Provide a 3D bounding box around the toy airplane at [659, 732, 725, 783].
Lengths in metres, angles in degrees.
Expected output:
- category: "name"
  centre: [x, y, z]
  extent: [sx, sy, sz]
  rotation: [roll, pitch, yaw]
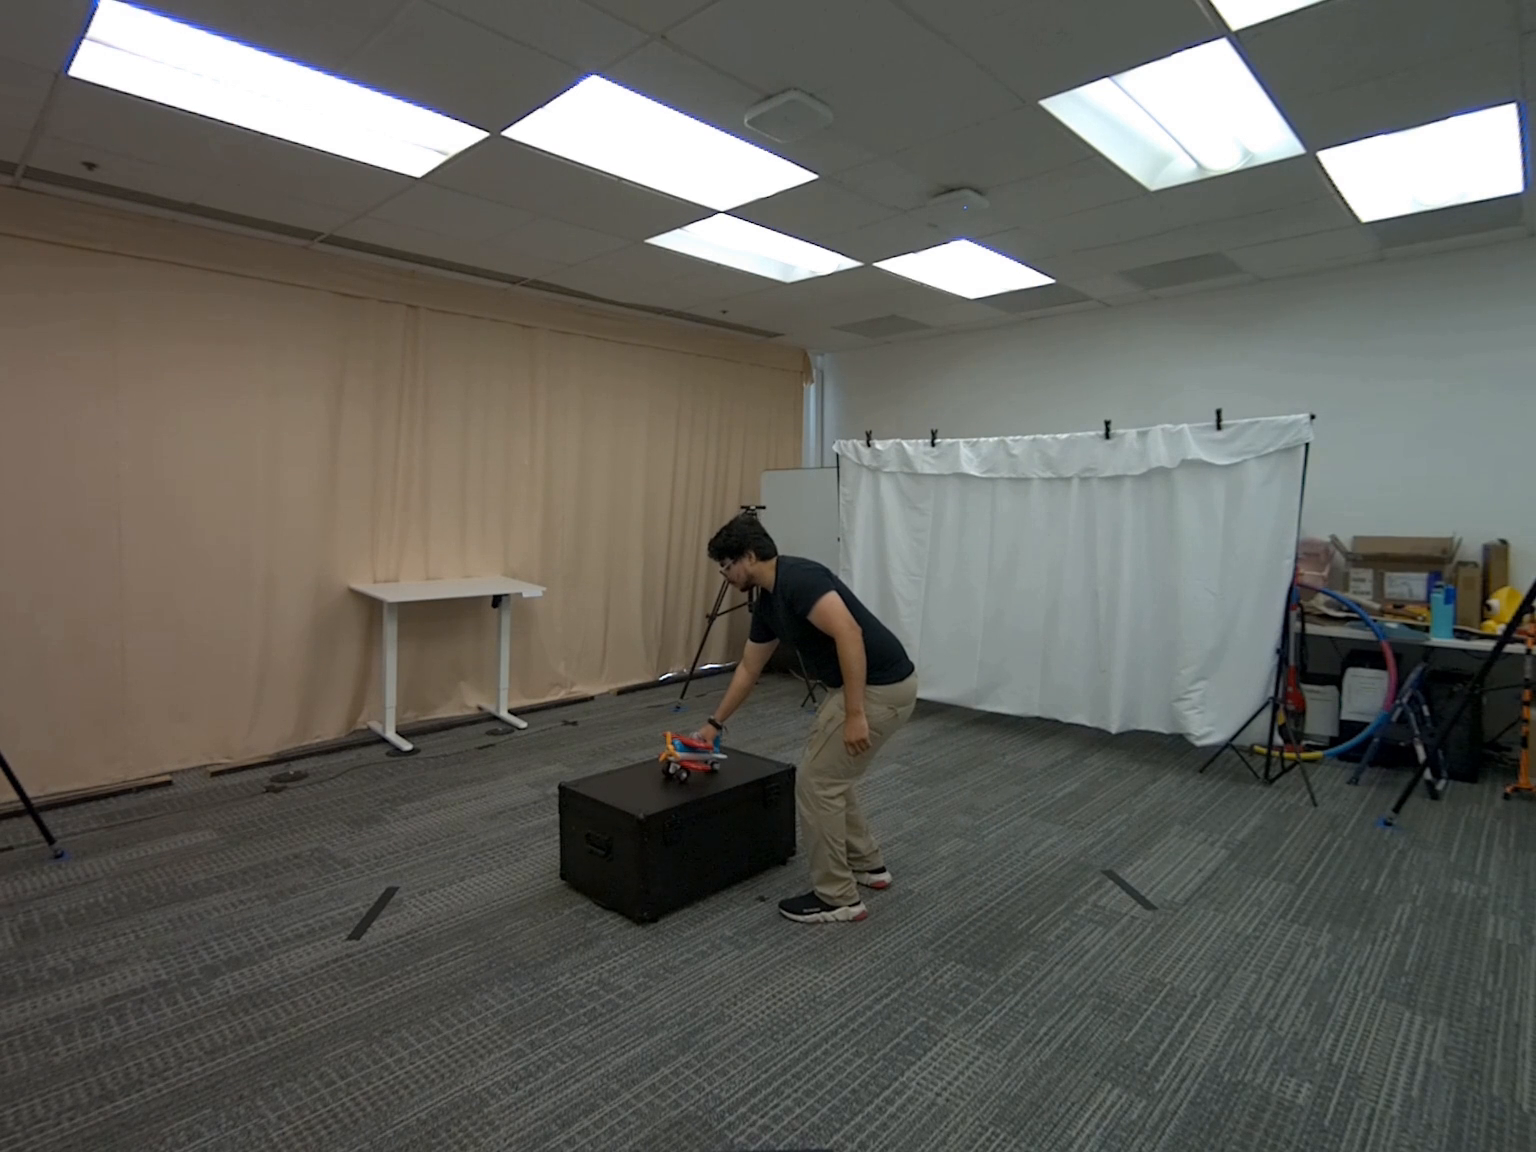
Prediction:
- category: "toy airplane"
  centre: [-0.294, 0.678, 3.201]
  extent: [0.256, 0.156, 0.255]
  rotation: [1, 7, 19]
